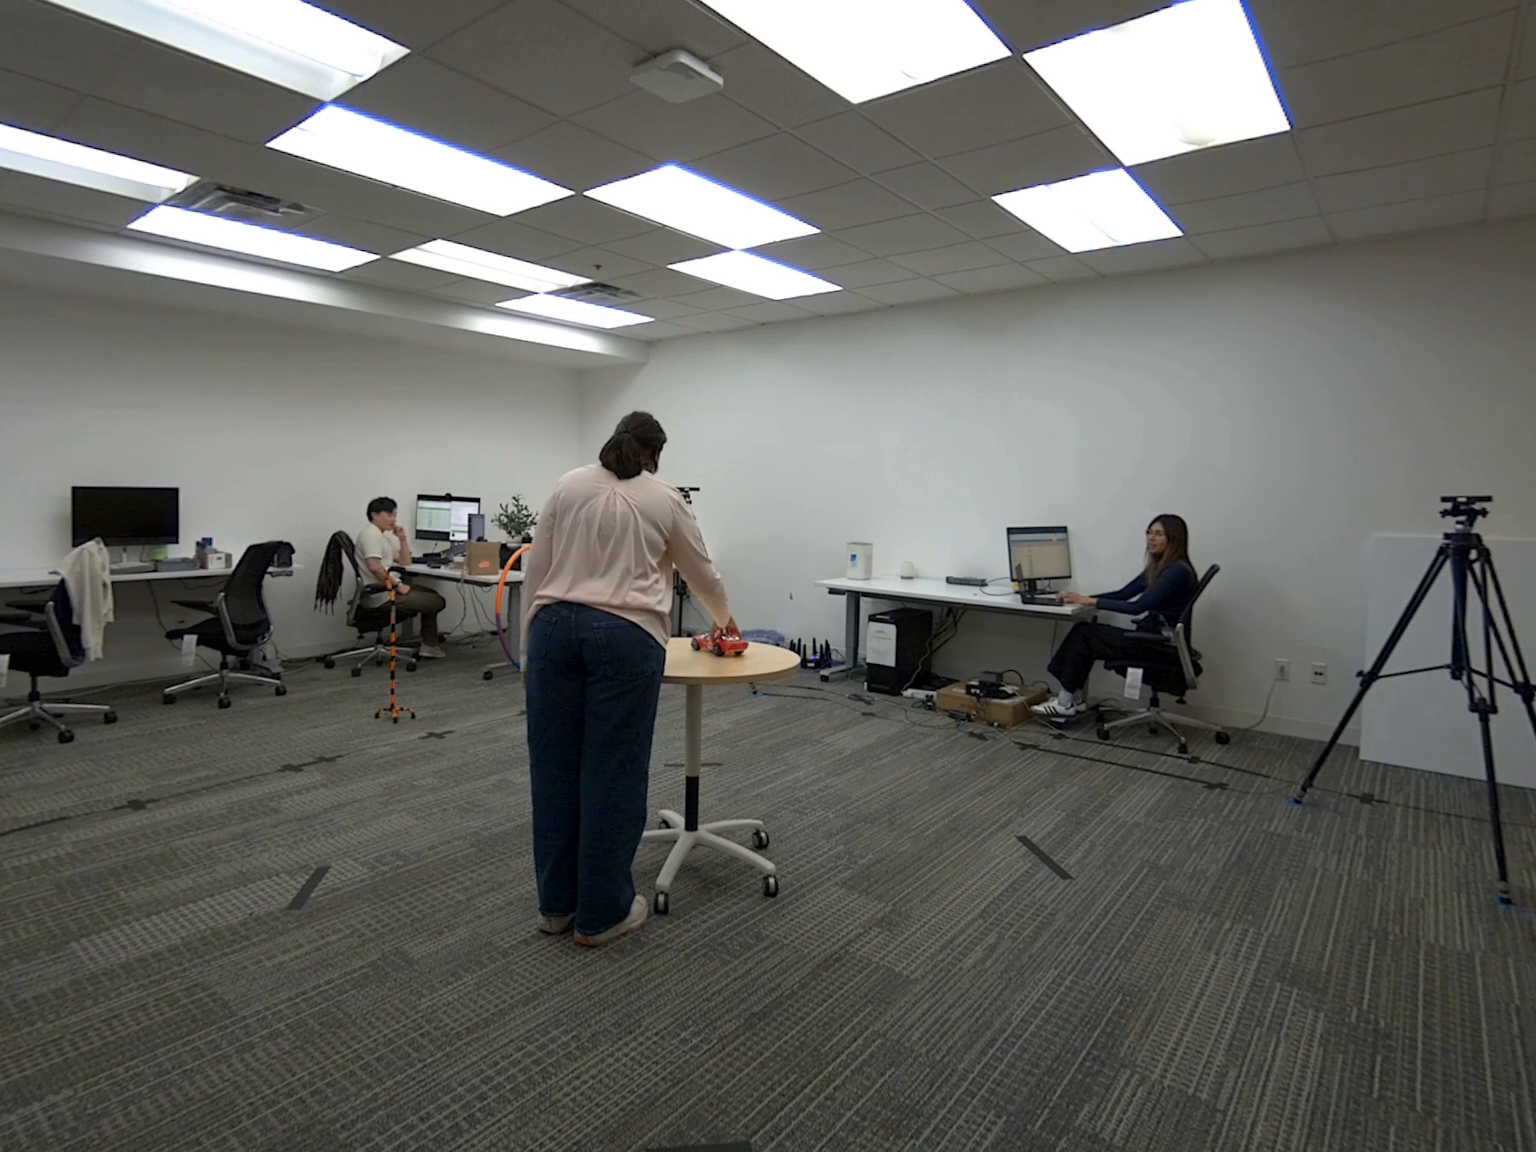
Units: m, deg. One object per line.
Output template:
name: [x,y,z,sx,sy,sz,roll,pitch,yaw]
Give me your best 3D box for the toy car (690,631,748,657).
toy car: [-0.186,0.251,3.143,0.126,0.084,0.261,-2,-5,-38]
